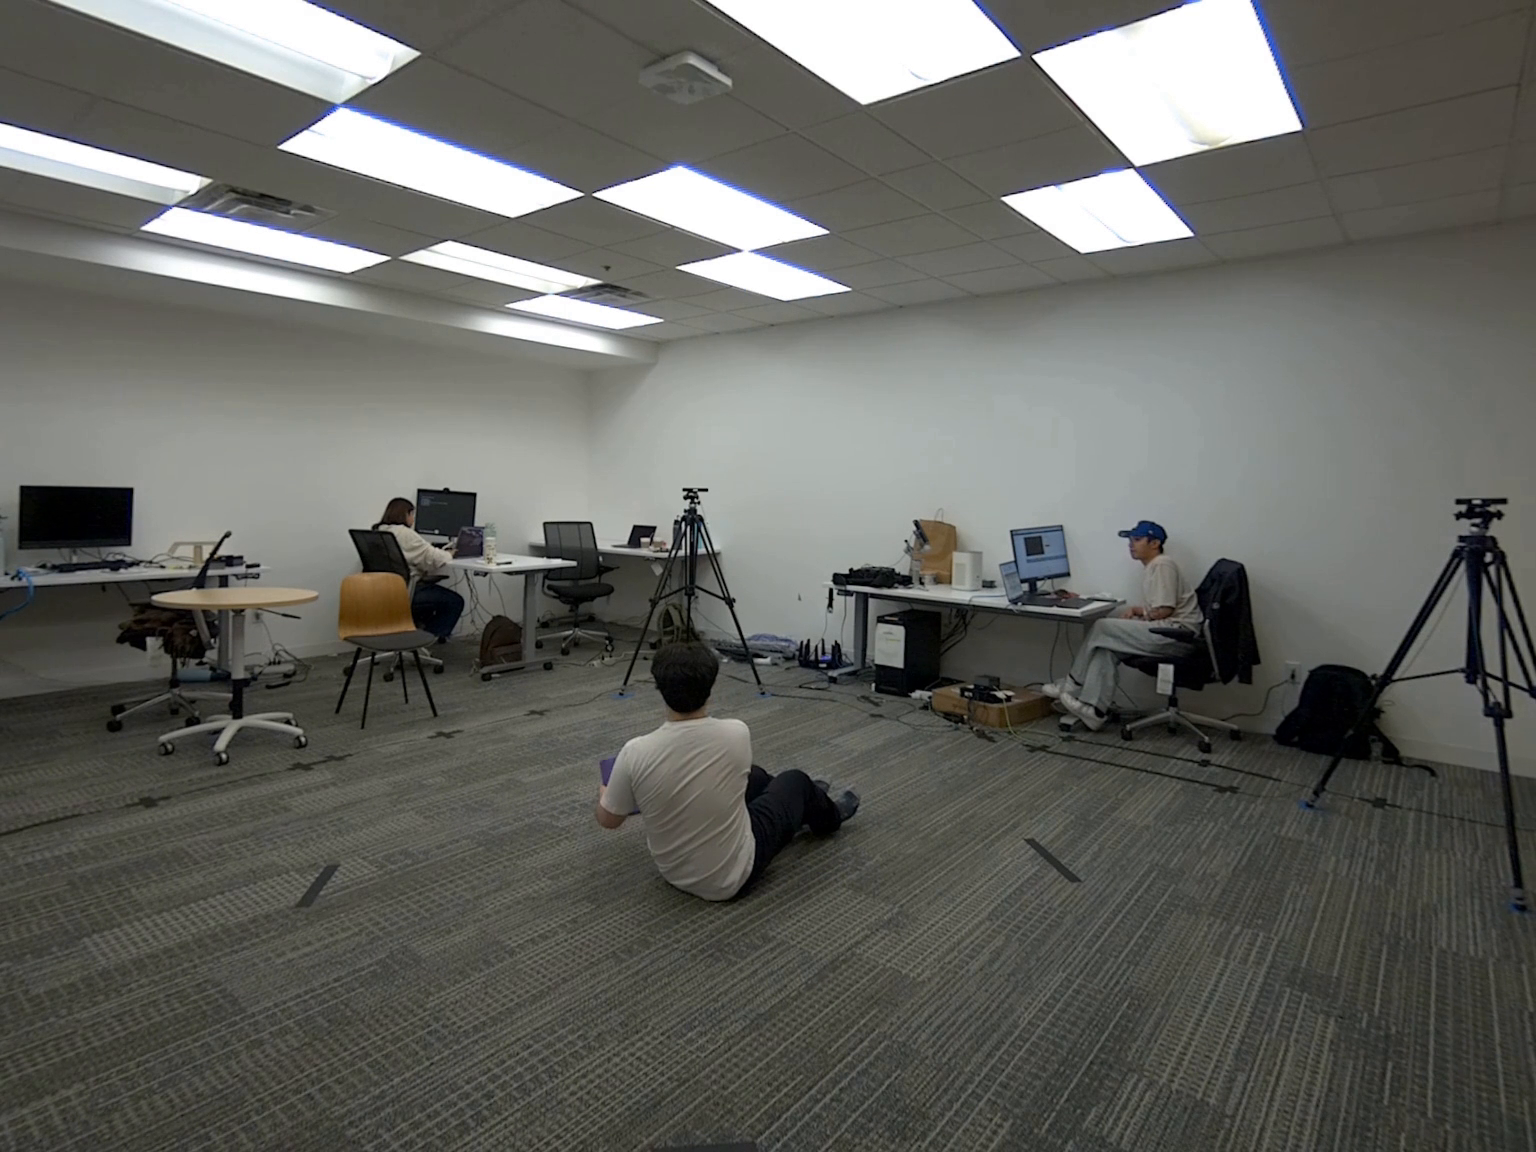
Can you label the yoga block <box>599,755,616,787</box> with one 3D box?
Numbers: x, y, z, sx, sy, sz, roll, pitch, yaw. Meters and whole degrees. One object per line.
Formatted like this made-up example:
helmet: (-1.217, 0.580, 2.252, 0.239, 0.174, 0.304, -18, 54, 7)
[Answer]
yoga block: (-0.555, 0.811, 3.323, 0.145, 0.234, 0.076, -4, -21, -26)
